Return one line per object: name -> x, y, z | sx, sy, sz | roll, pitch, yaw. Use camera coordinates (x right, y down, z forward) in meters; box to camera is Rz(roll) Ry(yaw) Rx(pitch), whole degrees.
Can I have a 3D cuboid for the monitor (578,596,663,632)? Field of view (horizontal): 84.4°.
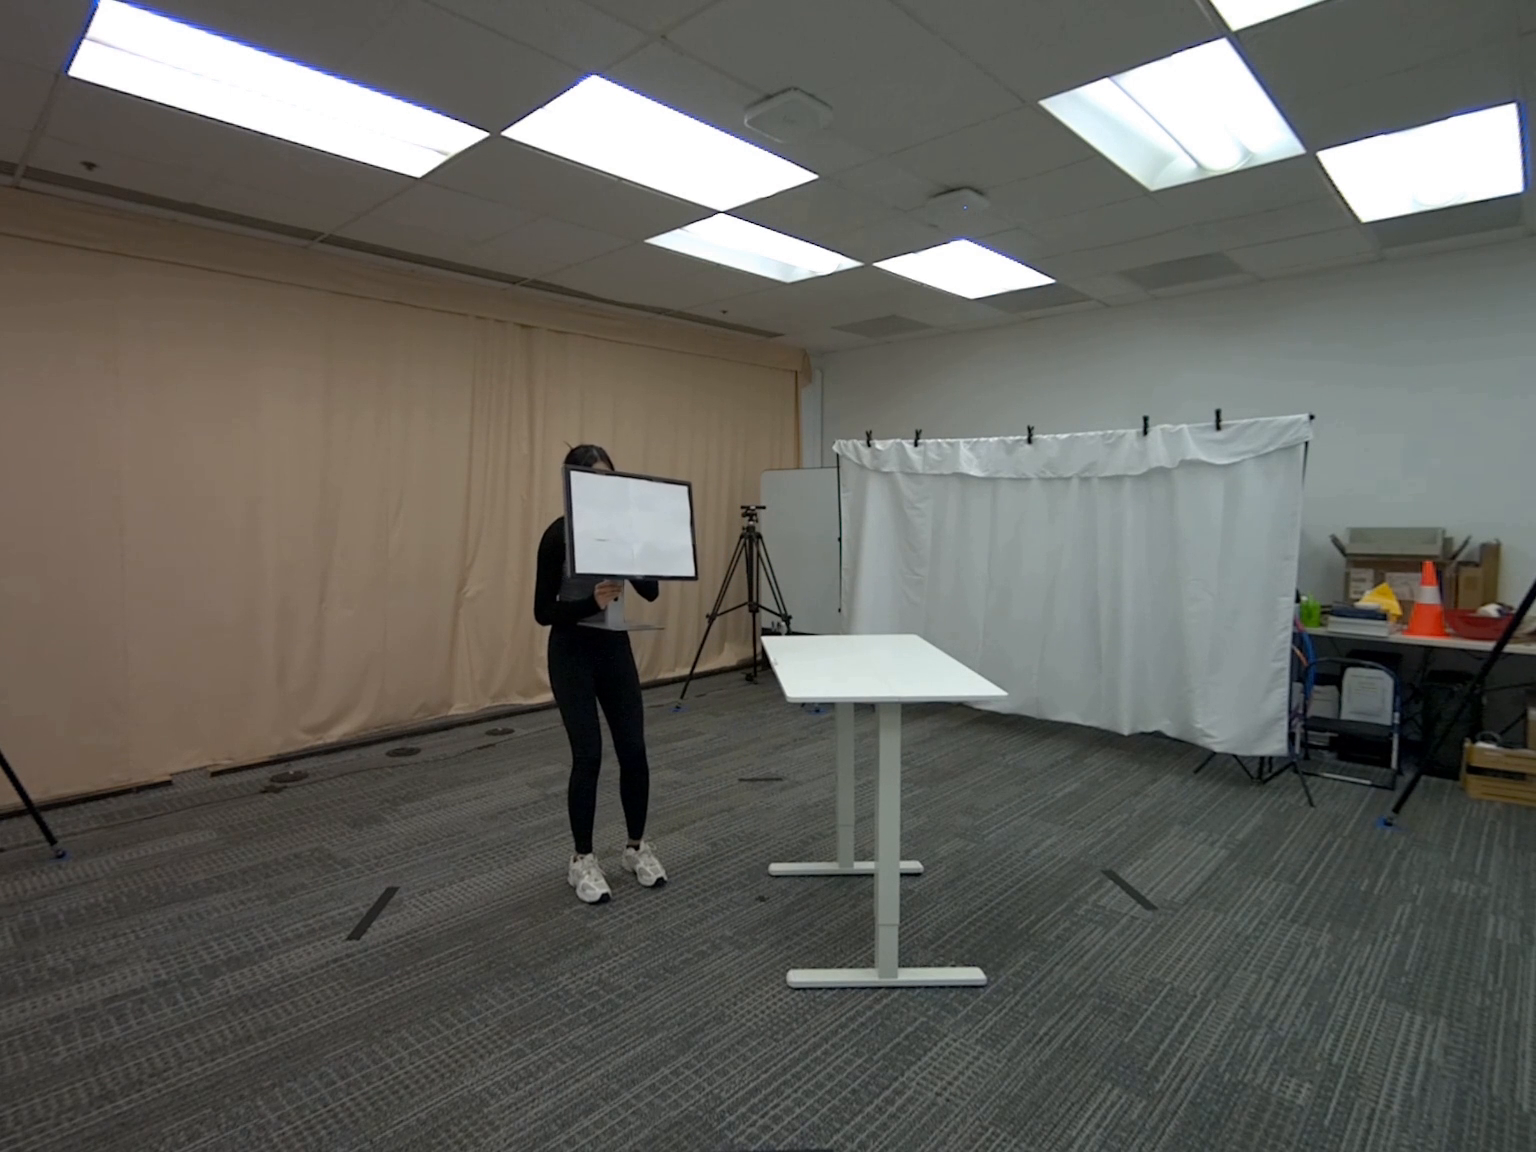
monitor -> -0.478, -0.081, 2.865 | 0.193, 0.522, 0.522 | 5, 2, 39
